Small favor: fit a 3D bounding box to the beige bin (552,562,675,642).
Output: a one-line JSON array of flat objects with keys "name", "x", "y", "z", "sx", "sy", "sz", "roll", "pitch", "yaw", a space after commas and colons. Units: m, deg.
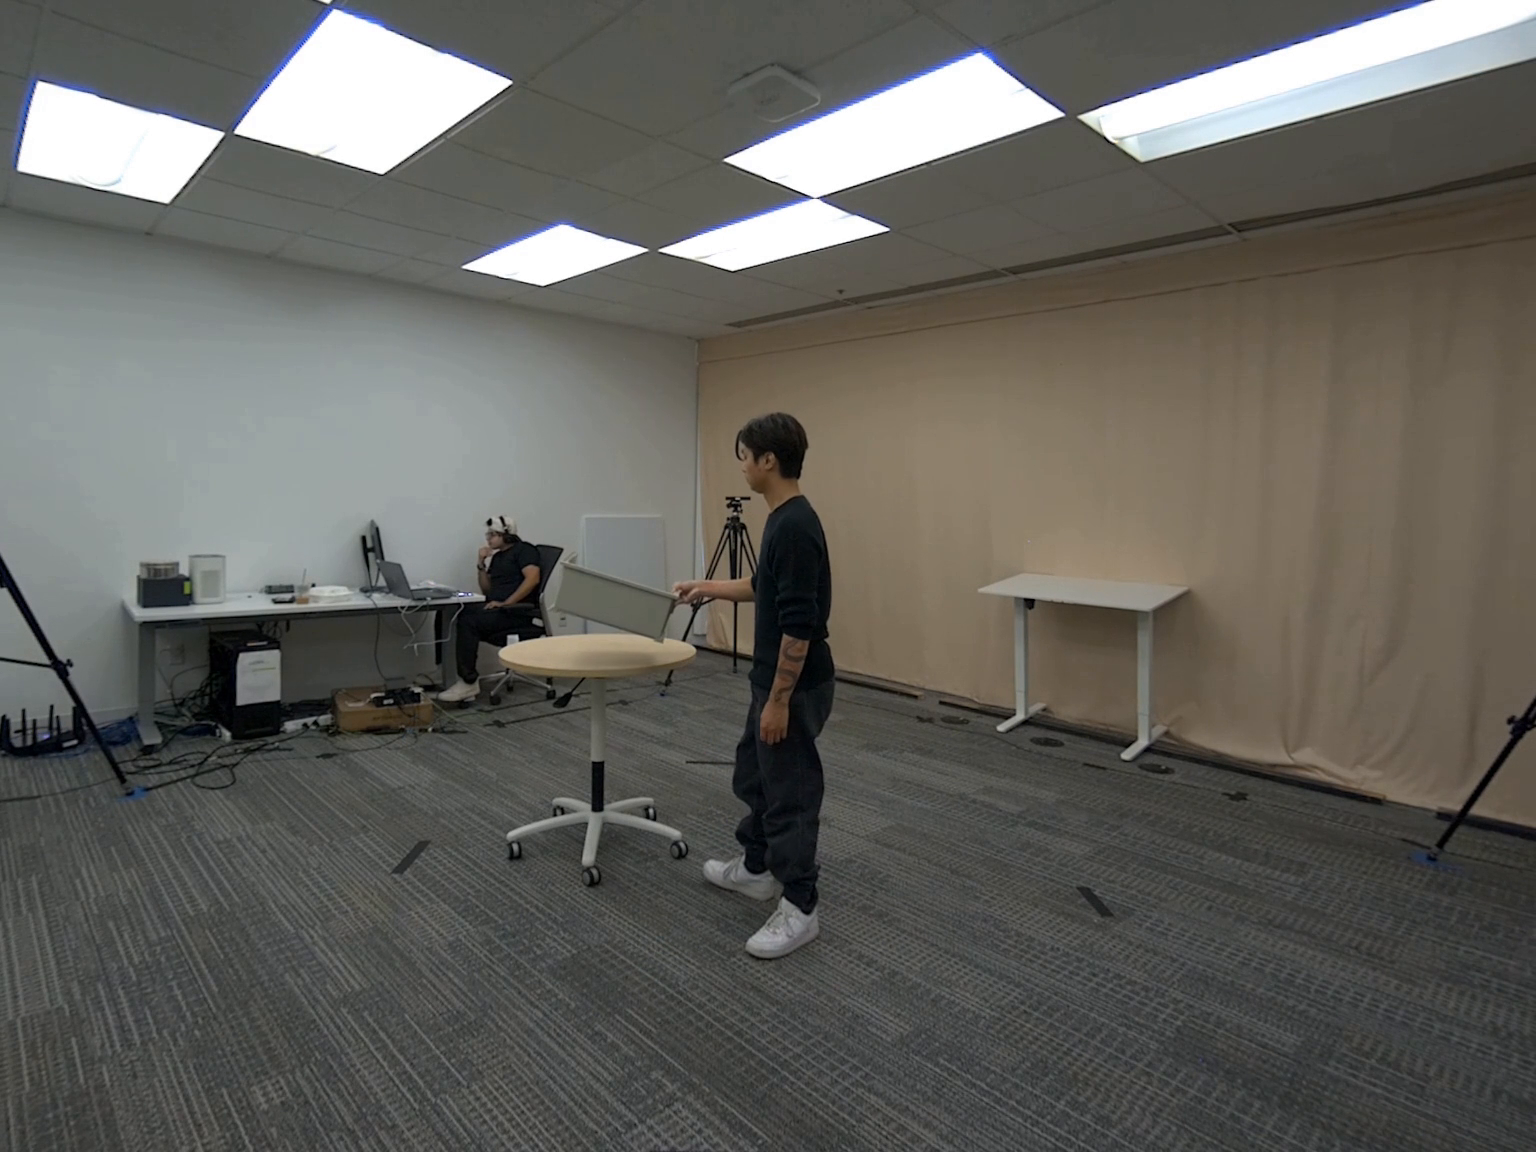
[{"name": "beige bin", "x": -0.554, "y": 0.068, "z": 3.091, "sx": 0.421, "sy": 0.188, "sz": 0.380, "roll": 16, "pitch": 9, "yaw": -3}]
